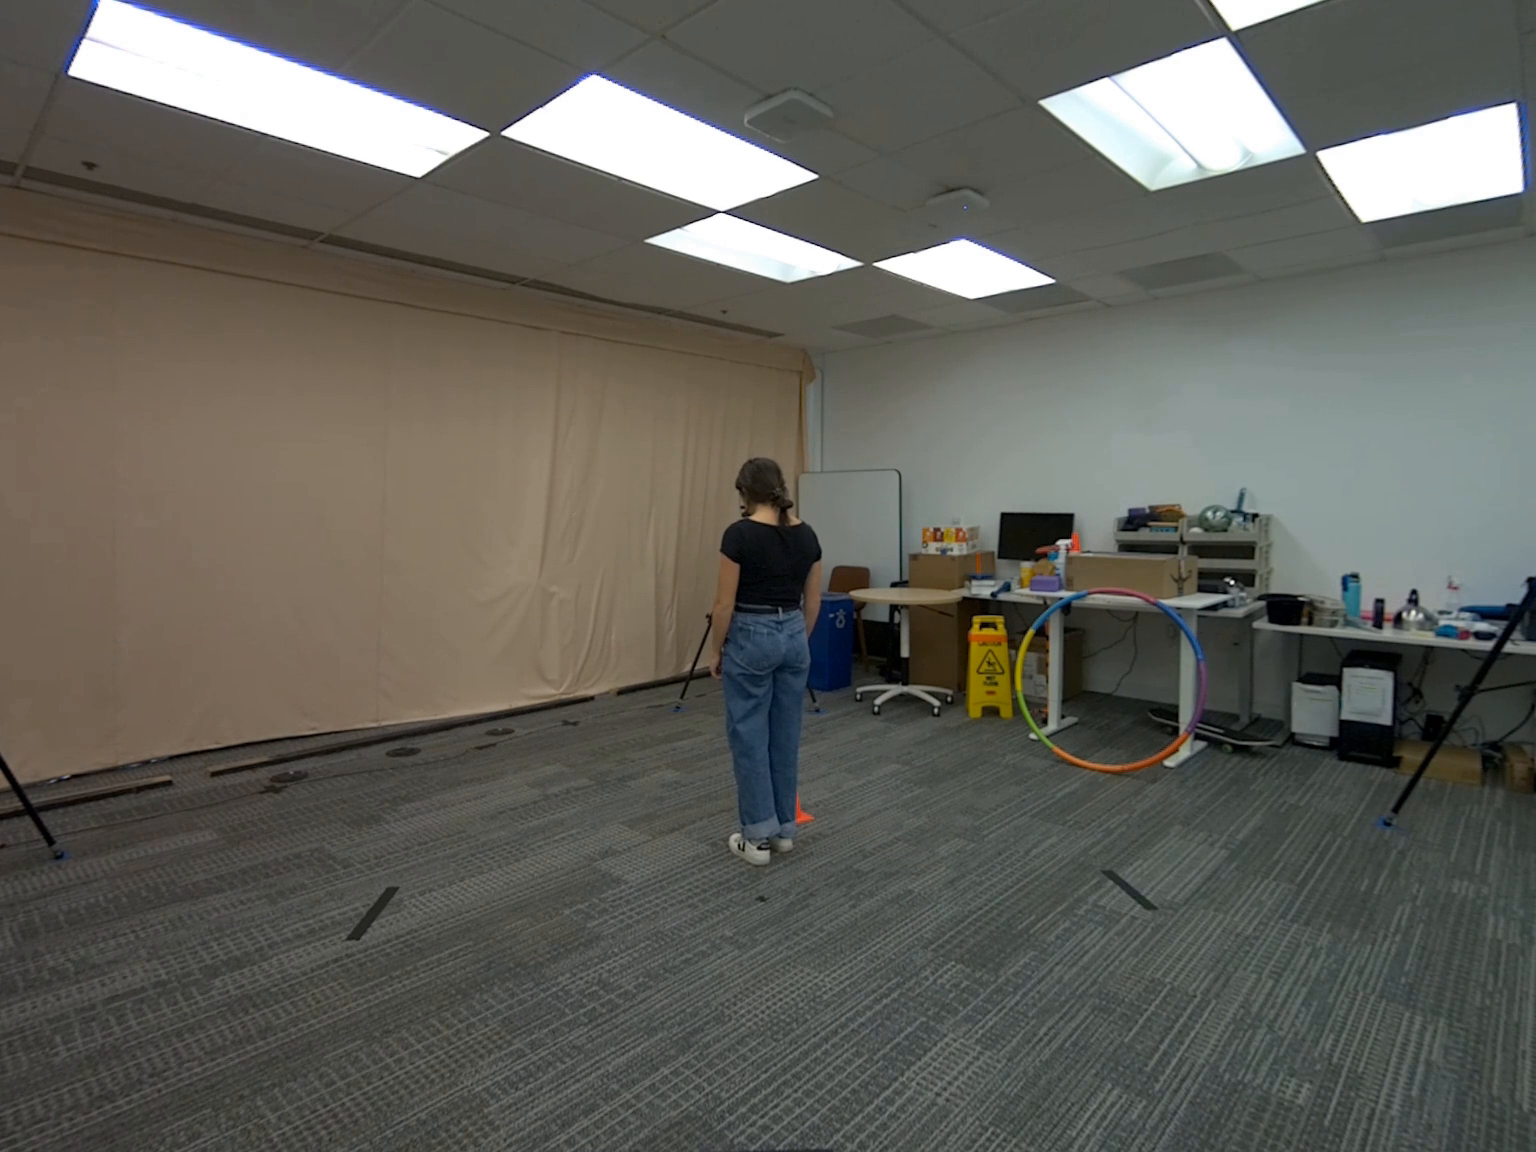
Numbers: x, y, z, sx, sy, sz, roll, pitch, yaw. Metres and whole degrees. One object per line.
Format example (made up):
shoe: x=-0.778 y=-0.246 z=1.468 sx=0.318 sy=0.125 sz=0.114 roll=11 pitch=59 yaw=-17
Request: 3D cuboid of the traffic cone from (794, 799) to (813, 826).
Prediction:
traffic cone: x=0.082 y=0.891 z=3.769 sx=0.199 sy=0.383 sz=0.209 roll=0 pitch=4 yaw=-31
